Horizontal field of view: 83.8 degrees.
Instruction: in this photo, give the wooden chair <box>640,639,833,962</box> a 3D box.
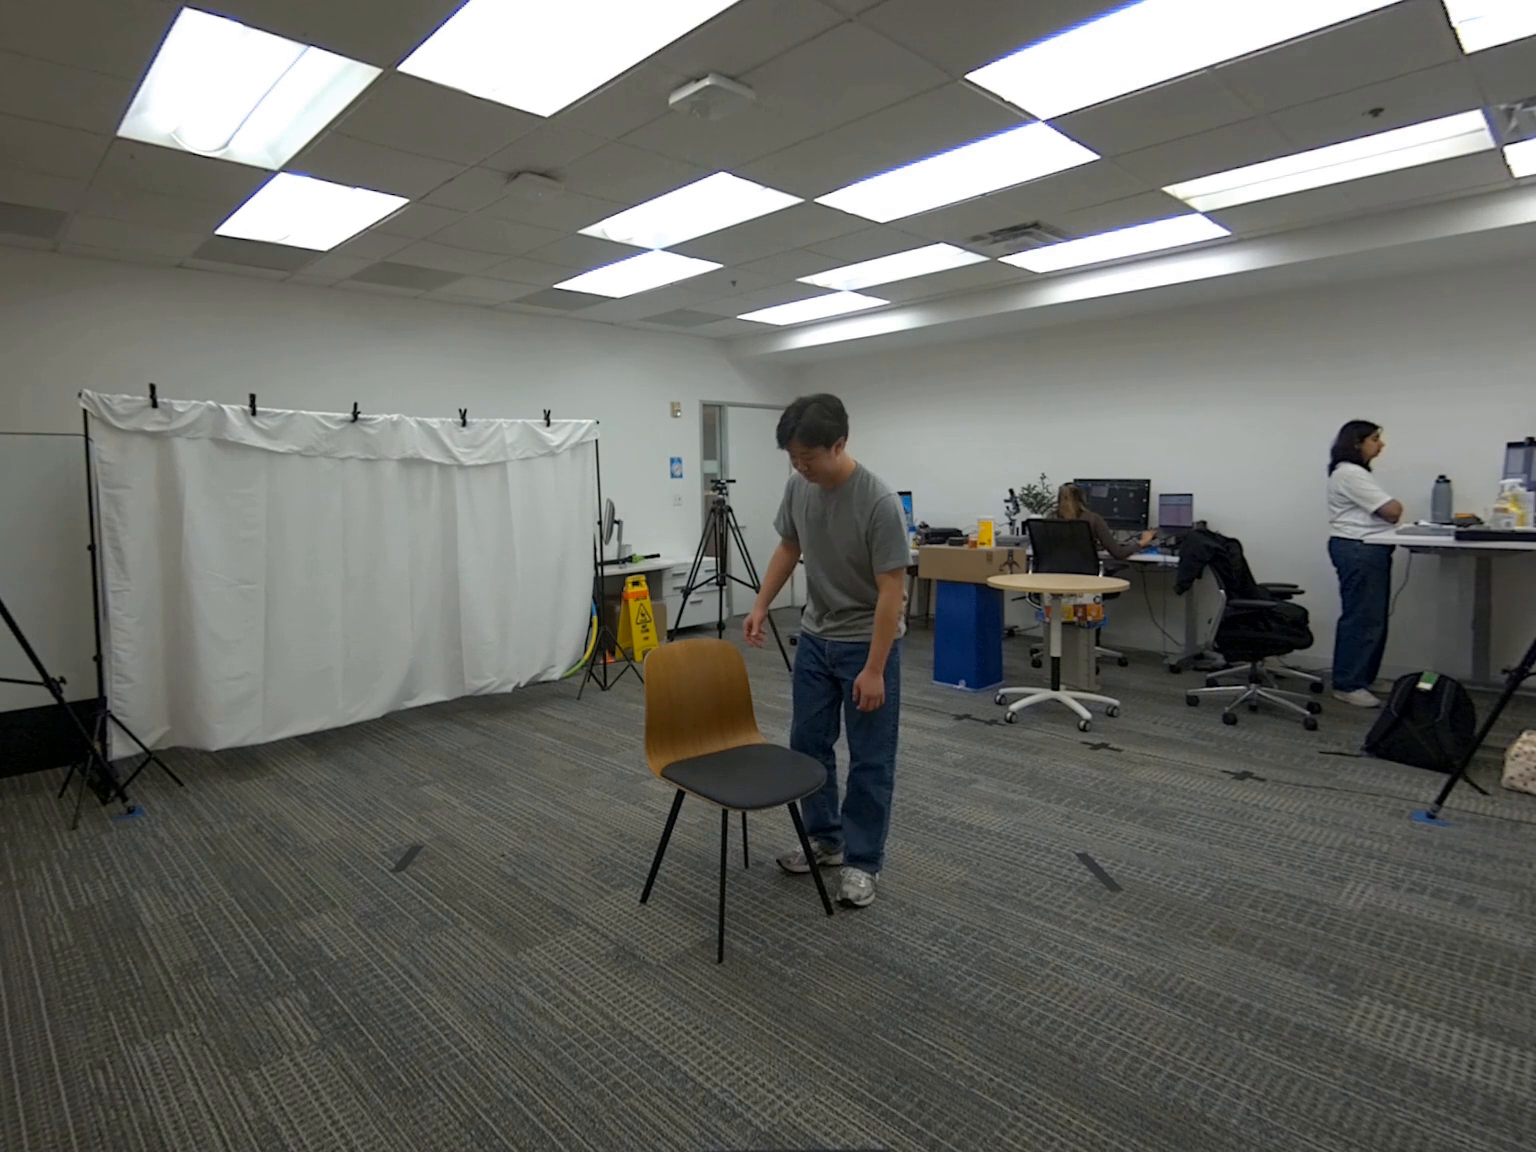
[{"bbox_3d":[-0.107,0.661,2.738,0.466,0.877,0.537,-4,1,-37],"label":"wooden chair"}]
